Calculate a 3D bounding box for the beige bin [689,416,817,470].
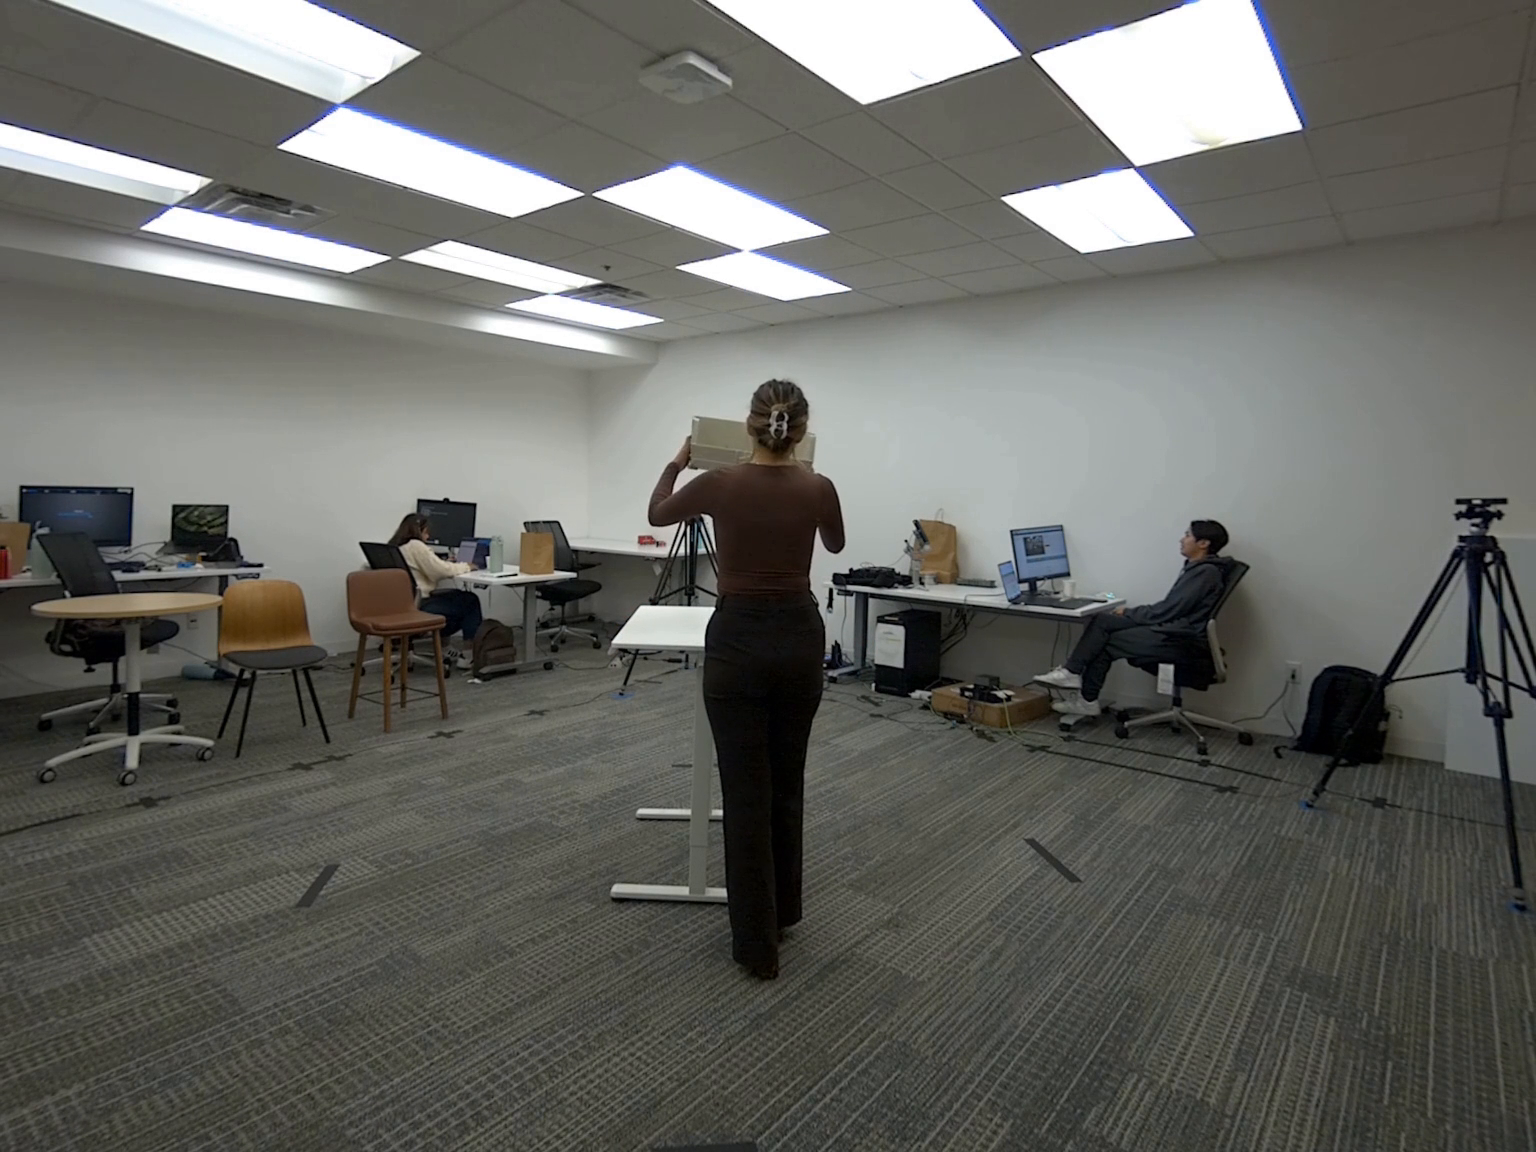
[{"bbox_3d":[-0.070,-0.466,3.026,0.421,0.188,0.380,7,5,-4],"label":"beige bin"}]
